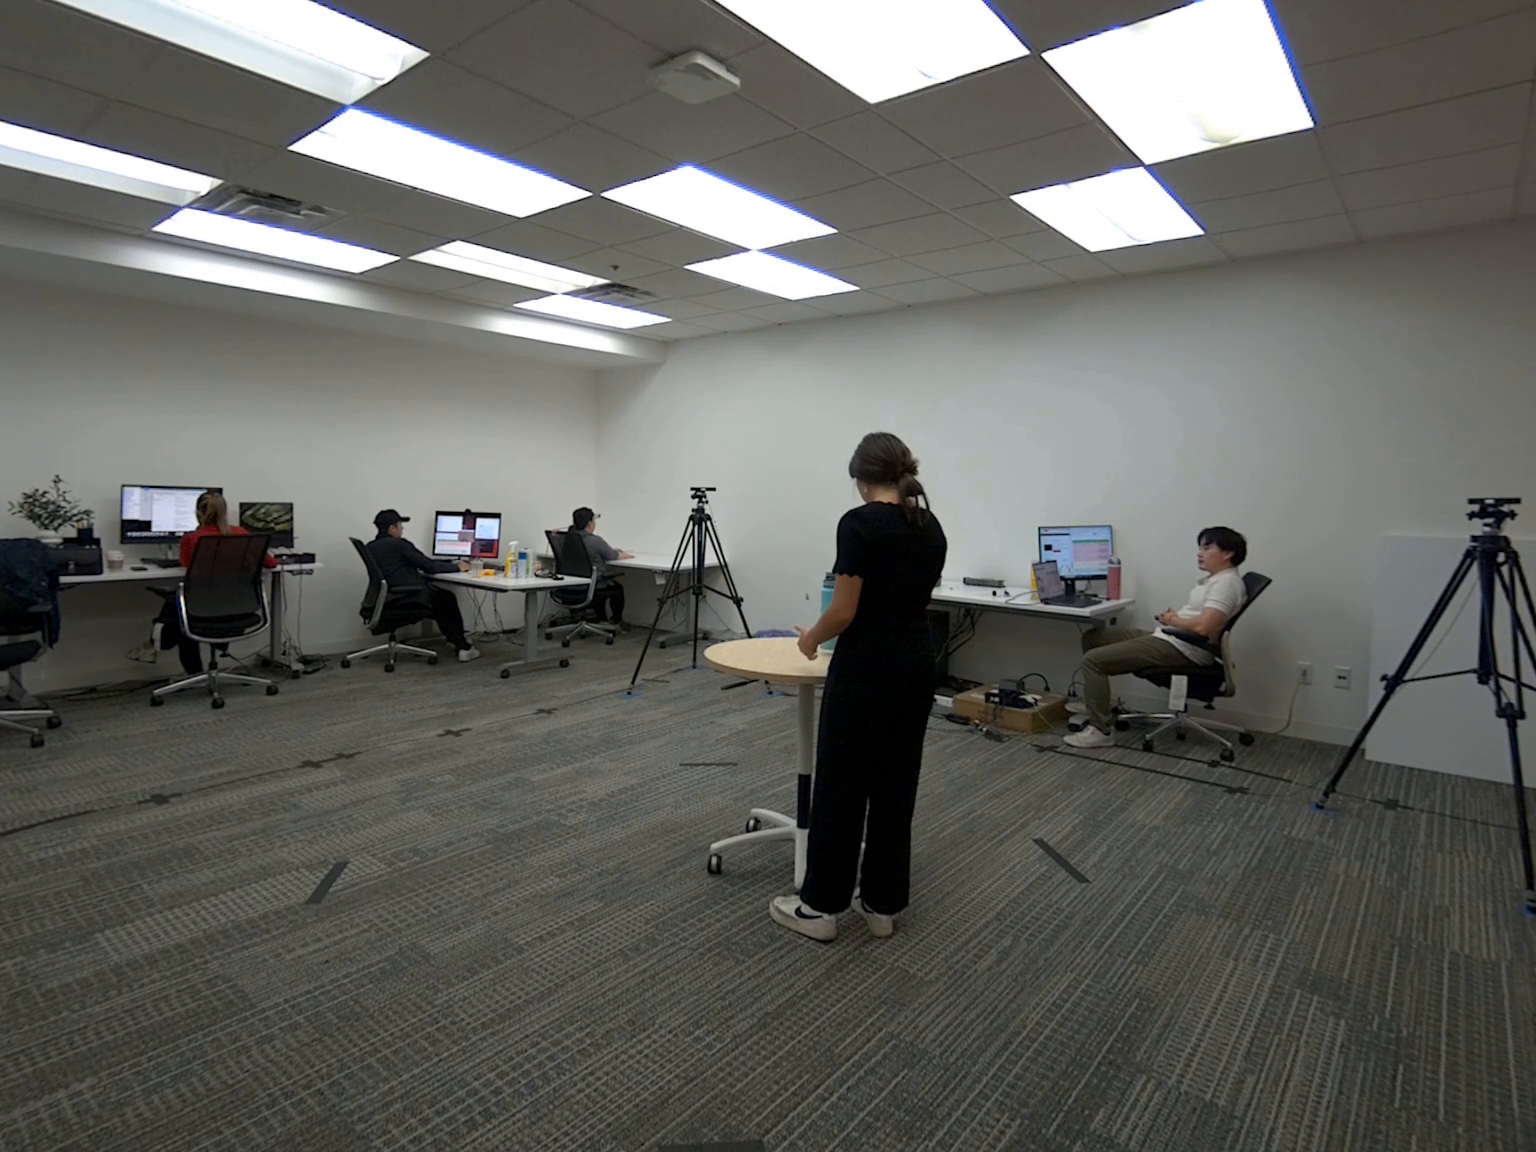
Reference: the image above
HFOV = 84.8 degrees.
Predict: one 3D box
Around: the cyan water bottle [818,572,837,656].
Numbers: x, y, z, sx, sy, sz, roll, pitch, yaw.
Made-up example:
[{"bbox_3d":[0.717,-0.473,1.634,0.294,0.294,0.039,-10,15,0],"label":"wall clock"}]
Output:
[{"bbox_3d":[0.231,0.124,3.144,0.092,0.283,0.092,2,2,-2],"label":"cyan water bottle"}]
